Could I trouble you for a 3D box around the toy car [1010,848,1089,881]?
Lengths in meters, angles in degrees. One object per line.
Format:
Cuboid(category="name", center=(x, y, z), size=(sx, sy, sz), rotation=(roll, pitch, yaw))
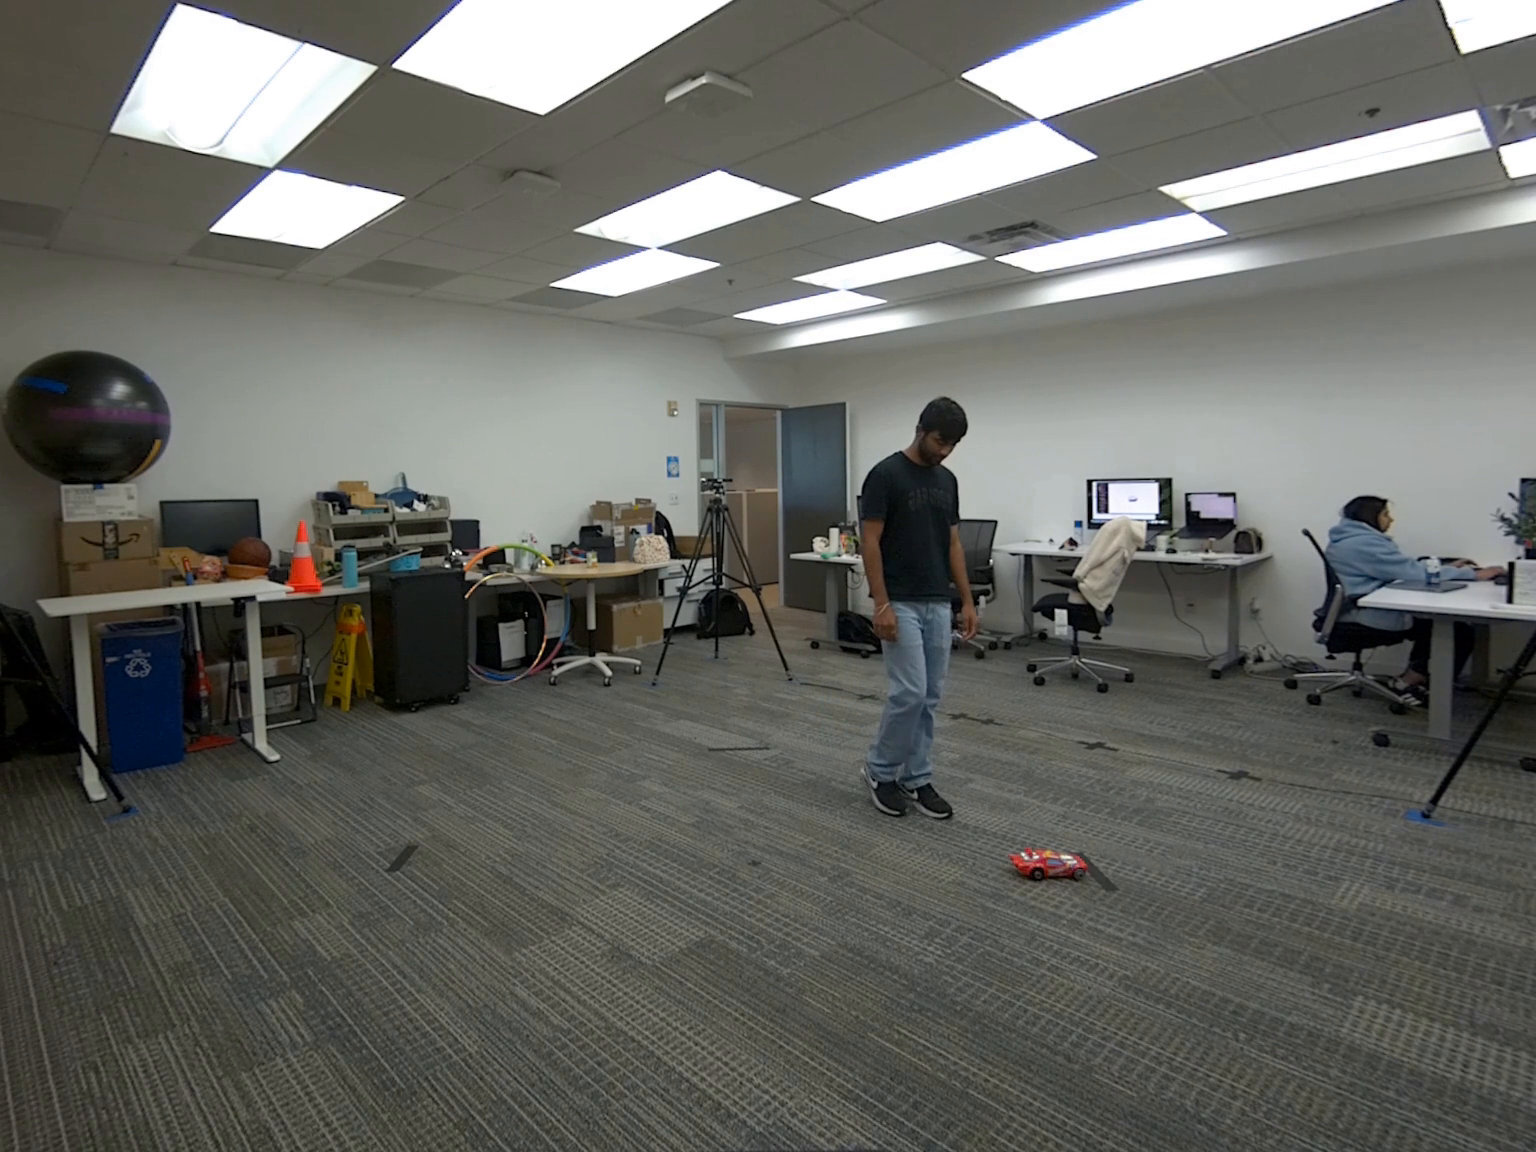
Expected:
Cuboid(category="toy car", center=(0.981, 1.015, 2.984), size=(0.255, 0.083, 0.130), rotation=(10, 6, 1))
